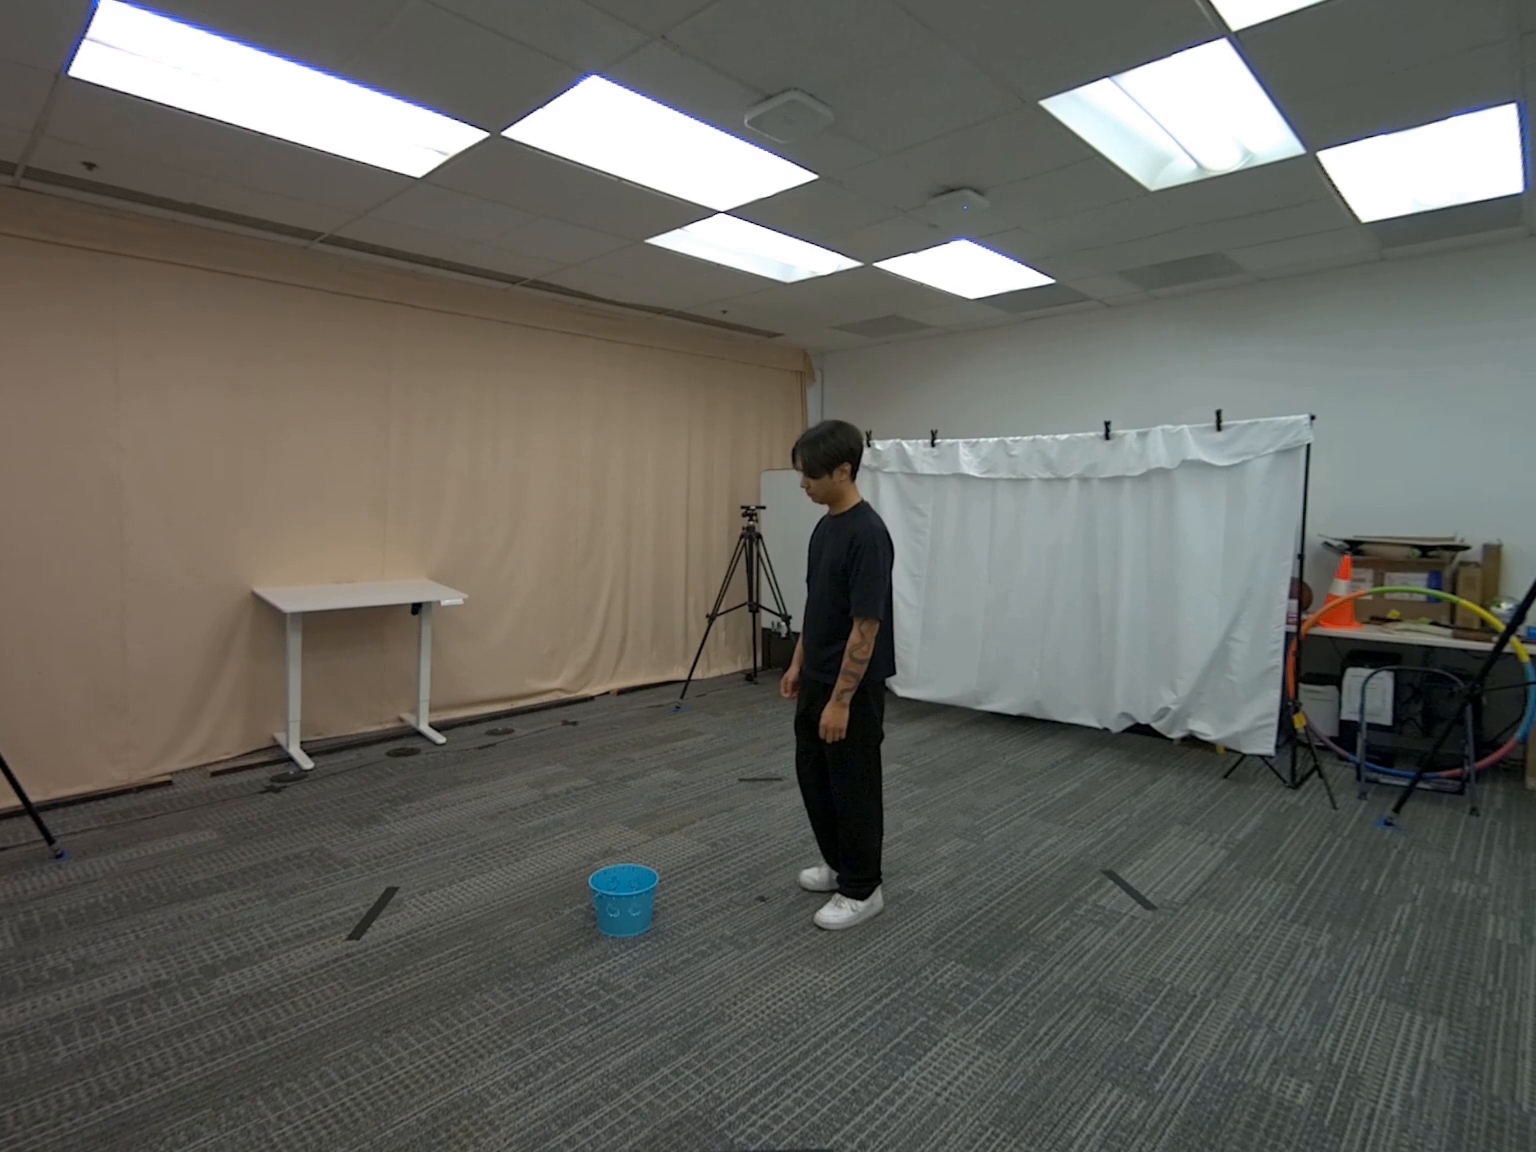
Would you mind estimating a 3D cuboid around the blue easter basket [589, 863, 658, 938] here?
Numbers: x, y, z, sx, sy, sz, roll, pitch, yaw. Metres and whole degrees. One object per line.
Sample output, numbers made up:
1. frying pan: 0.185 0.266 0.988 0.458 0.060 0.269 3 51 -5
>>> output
1. blue easter basket: -0.480 1.082 2.817 0.243 0.155 0.244 -1 4 -2
